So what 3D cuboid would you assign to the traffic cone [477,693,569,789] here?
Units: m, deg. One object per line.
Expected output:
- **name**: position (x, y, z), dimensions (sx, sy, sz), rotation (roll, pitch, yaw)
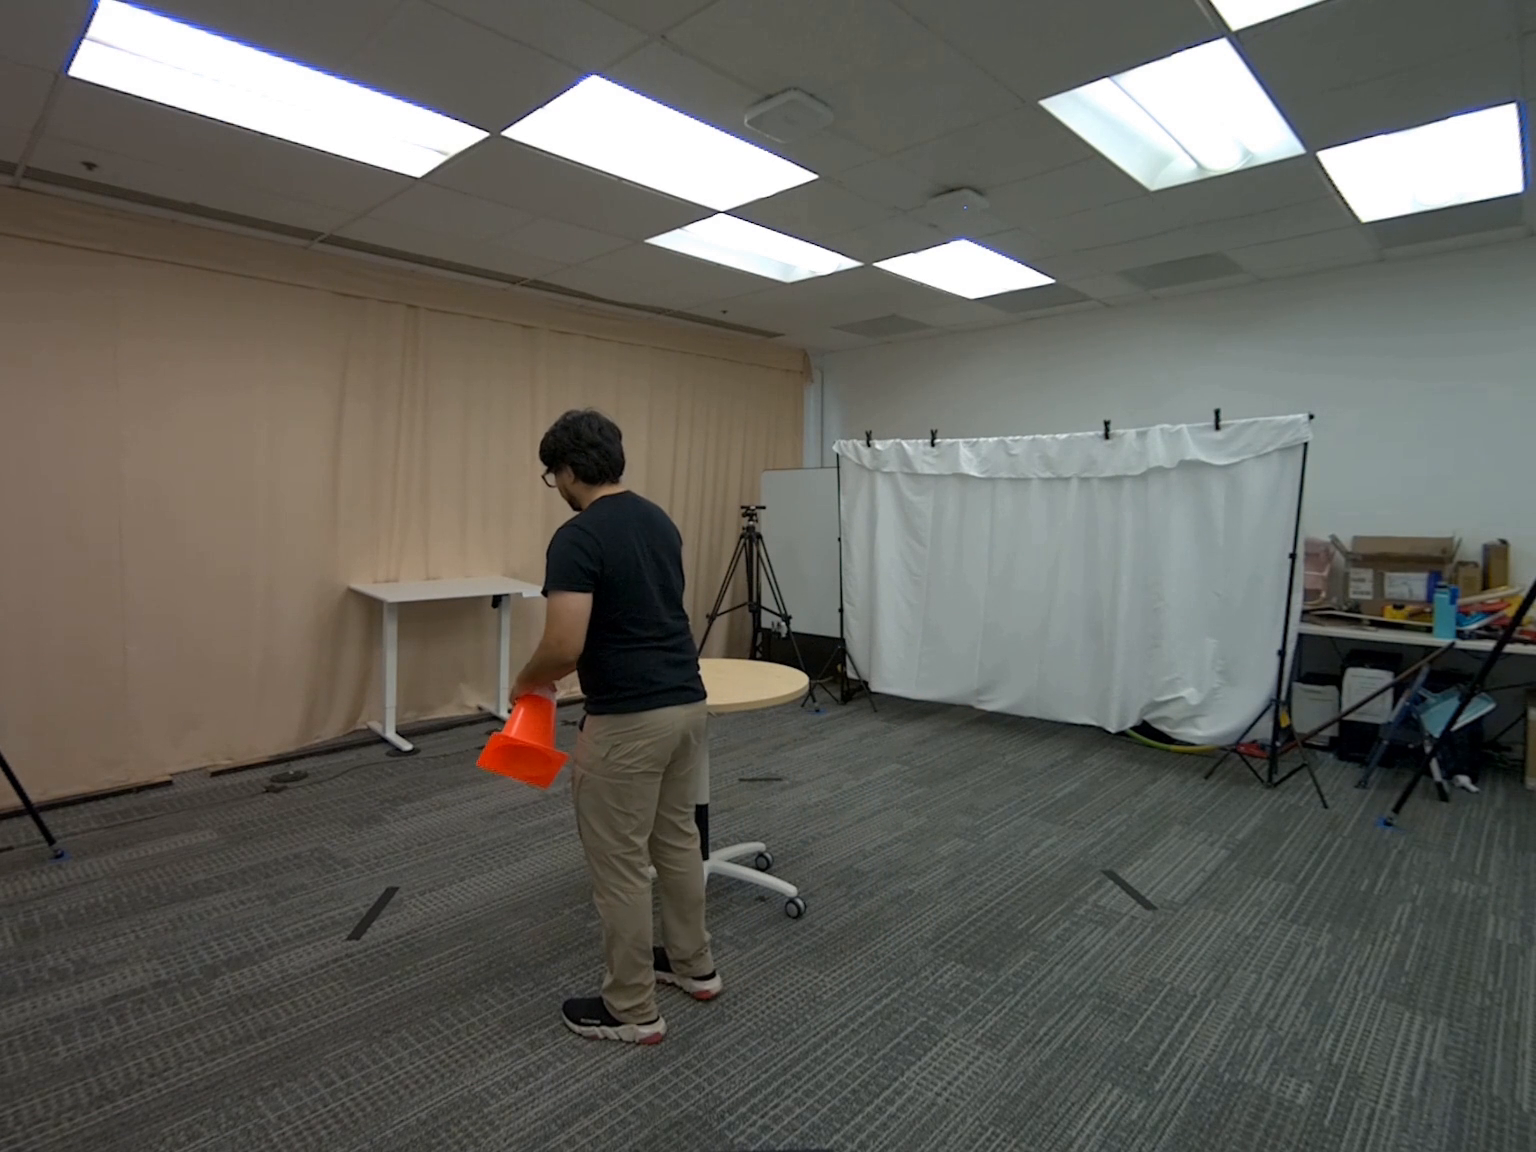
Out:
- **traffic cone**: position (-0.612, 0.338, 2.260), dimensions (0.199, 0.389, 0.206), rotation (23, -46, -18)
